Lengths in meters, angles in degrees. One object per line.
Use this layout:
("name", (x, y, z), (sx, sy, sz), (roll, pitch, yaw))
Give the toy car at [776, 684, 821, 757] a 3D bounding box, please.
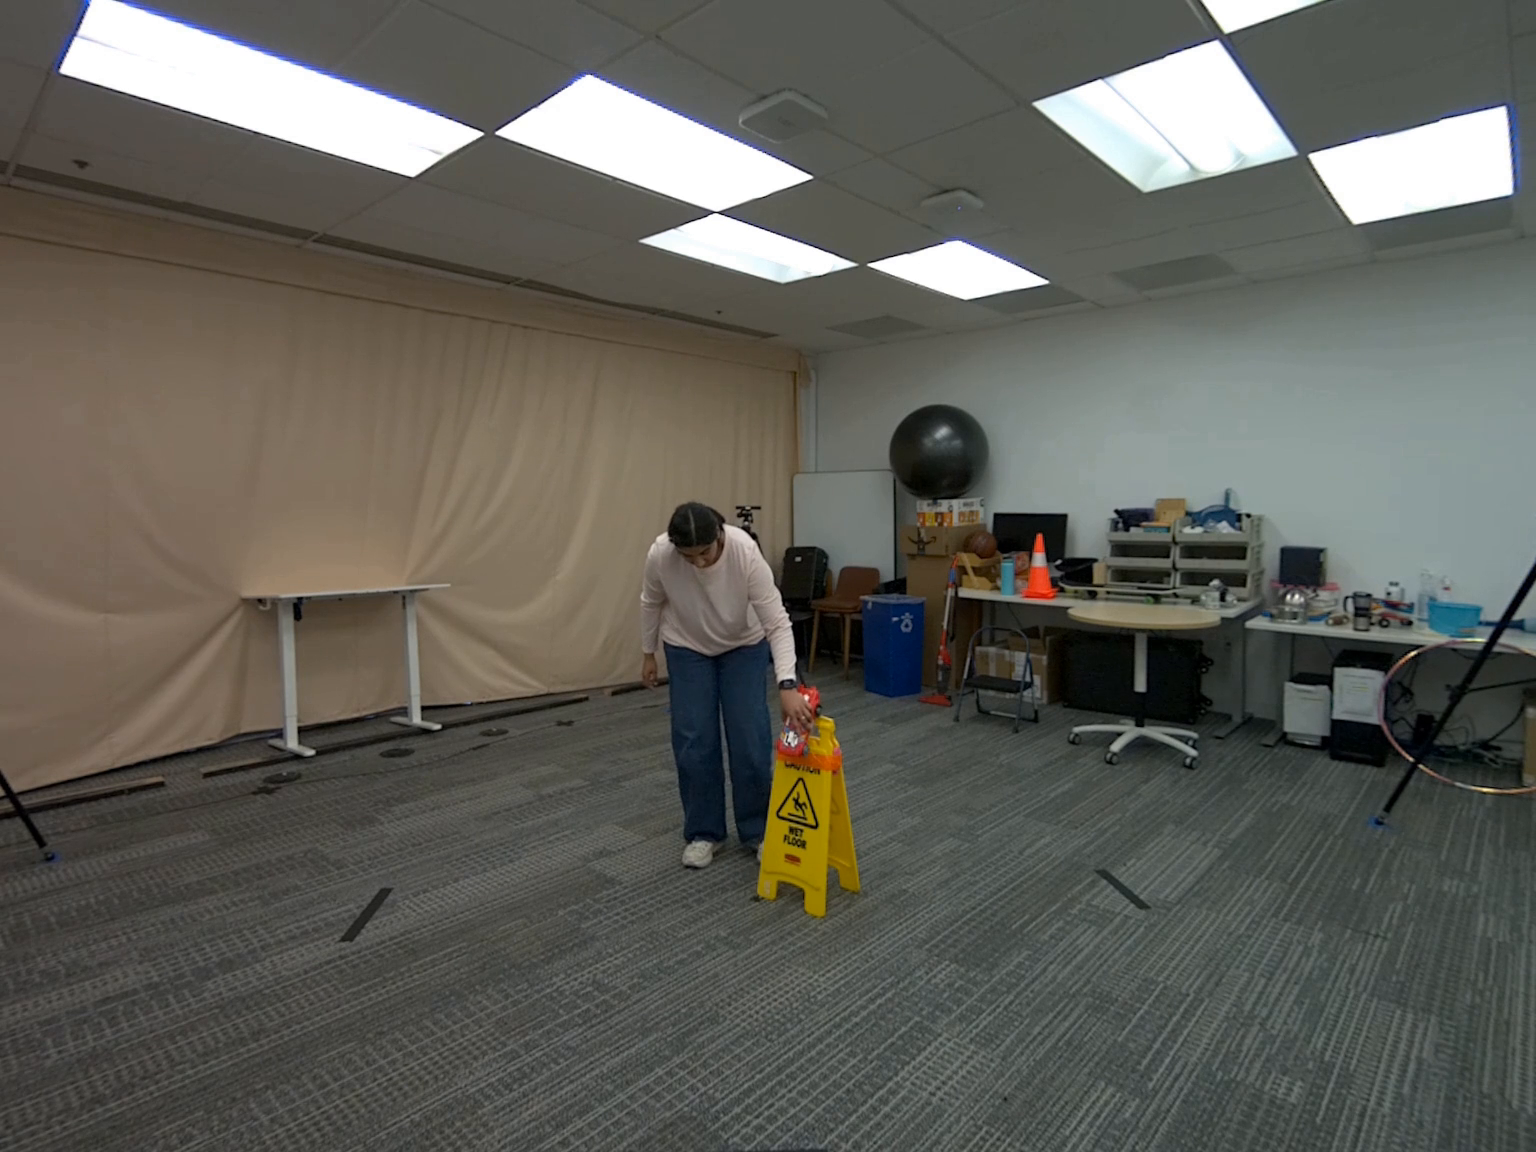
("toy car", (0.115, 0.513, 2.957), (0.134, 0.255, 0.080), (3, -14, 39))
